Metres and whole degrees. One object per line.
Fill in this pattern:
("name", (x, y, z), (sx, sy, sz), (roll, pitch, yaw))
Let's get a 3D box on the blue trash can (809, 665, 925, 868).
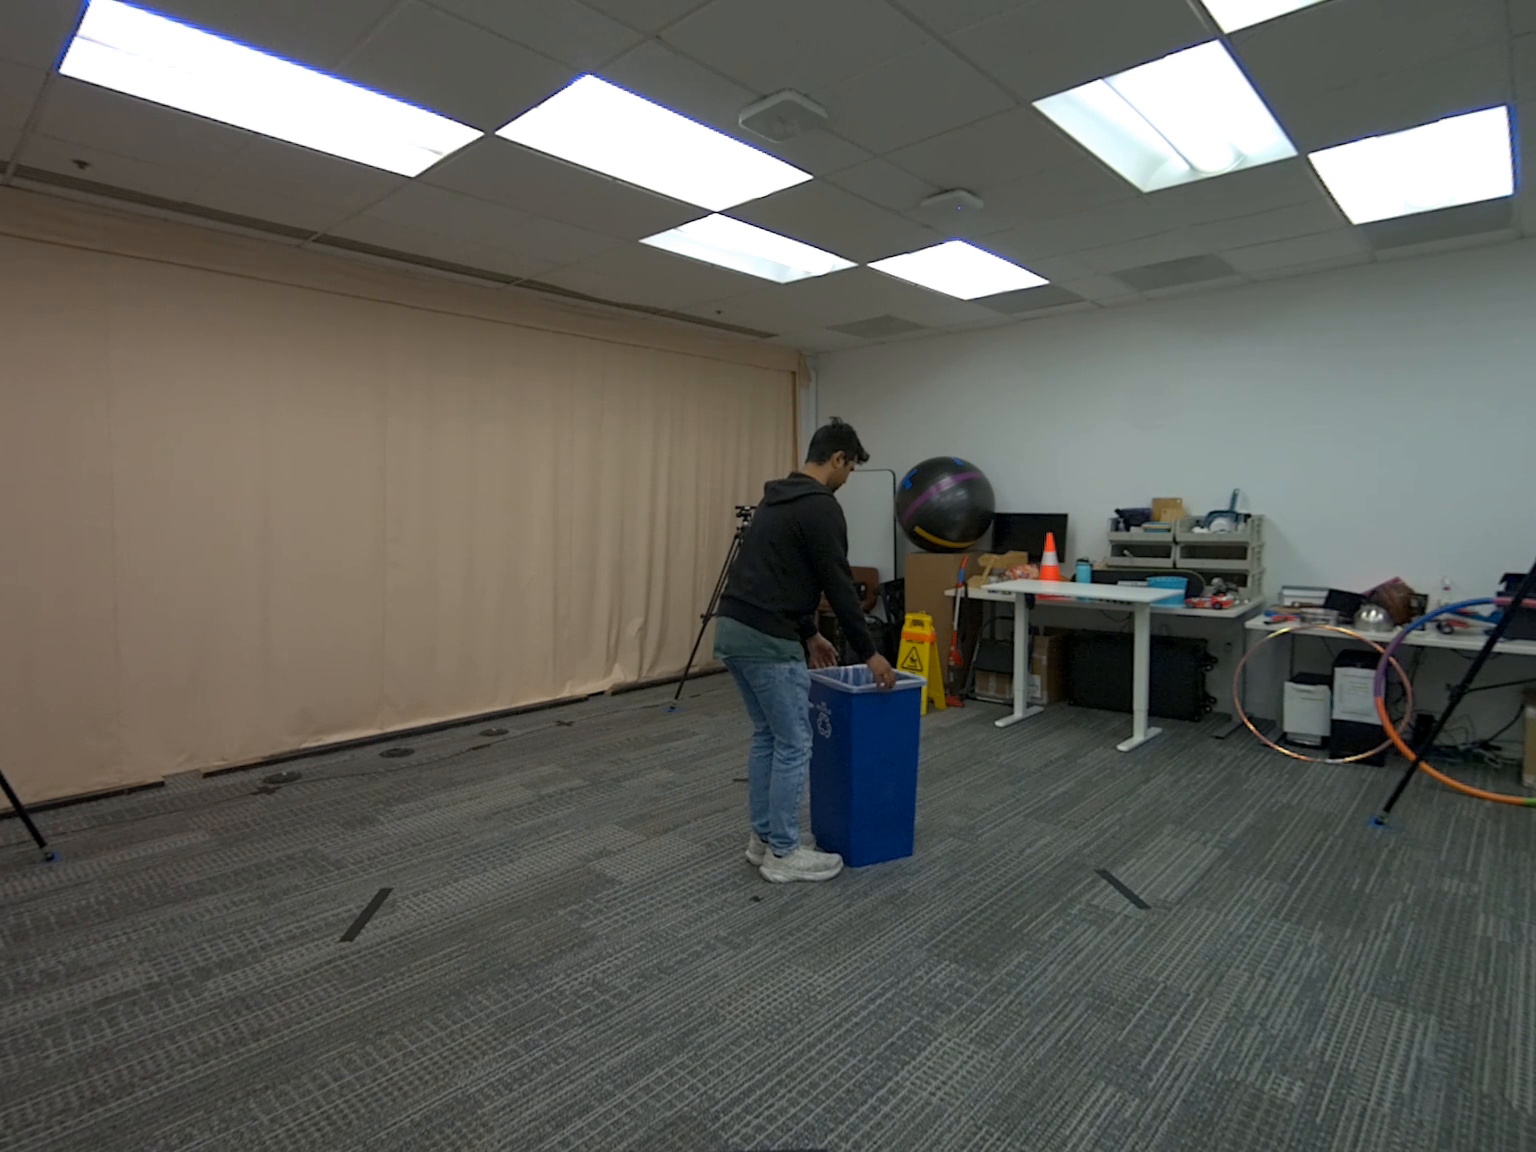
("blue trash can", (0.393, 0.751, 3.406), (0.368, 0.712, 0.384), (-2, 3, -28))
